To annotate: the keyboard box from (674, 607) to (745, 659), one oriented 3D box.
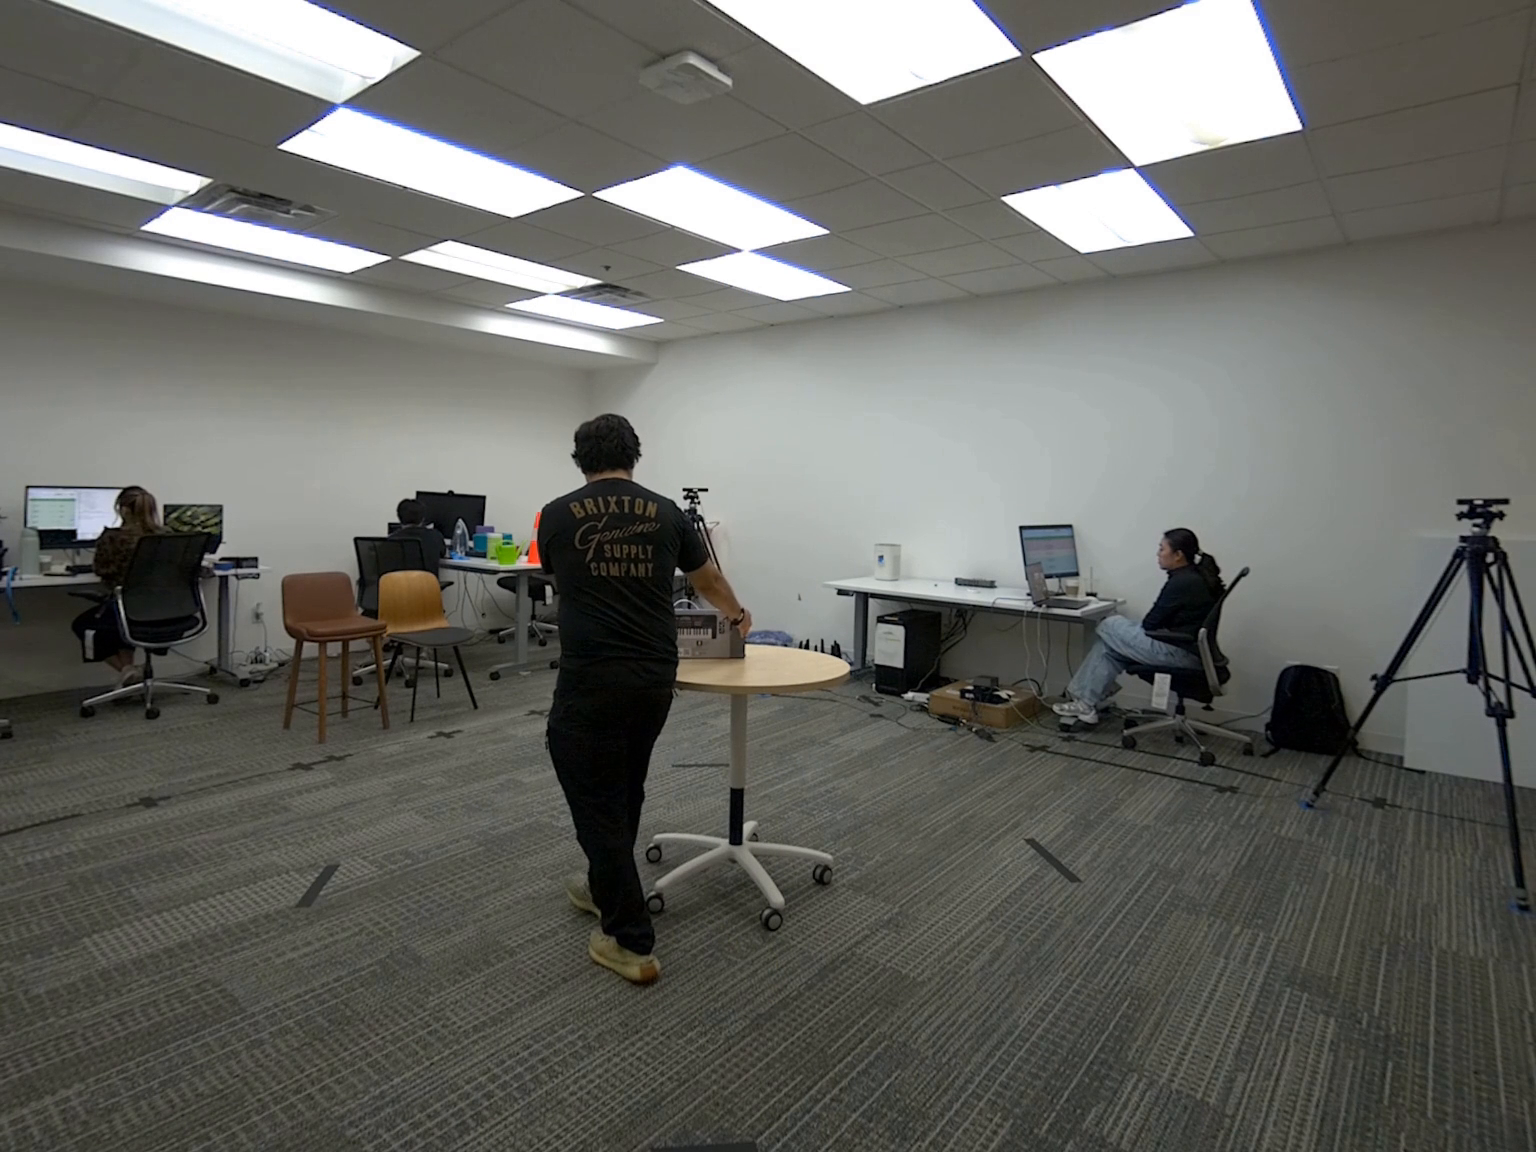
[{"bbox_3d":[-0.306,0.205,3.049,0.433,0.176,0.060,1,0,-8],"label":"keyboard box"}]
